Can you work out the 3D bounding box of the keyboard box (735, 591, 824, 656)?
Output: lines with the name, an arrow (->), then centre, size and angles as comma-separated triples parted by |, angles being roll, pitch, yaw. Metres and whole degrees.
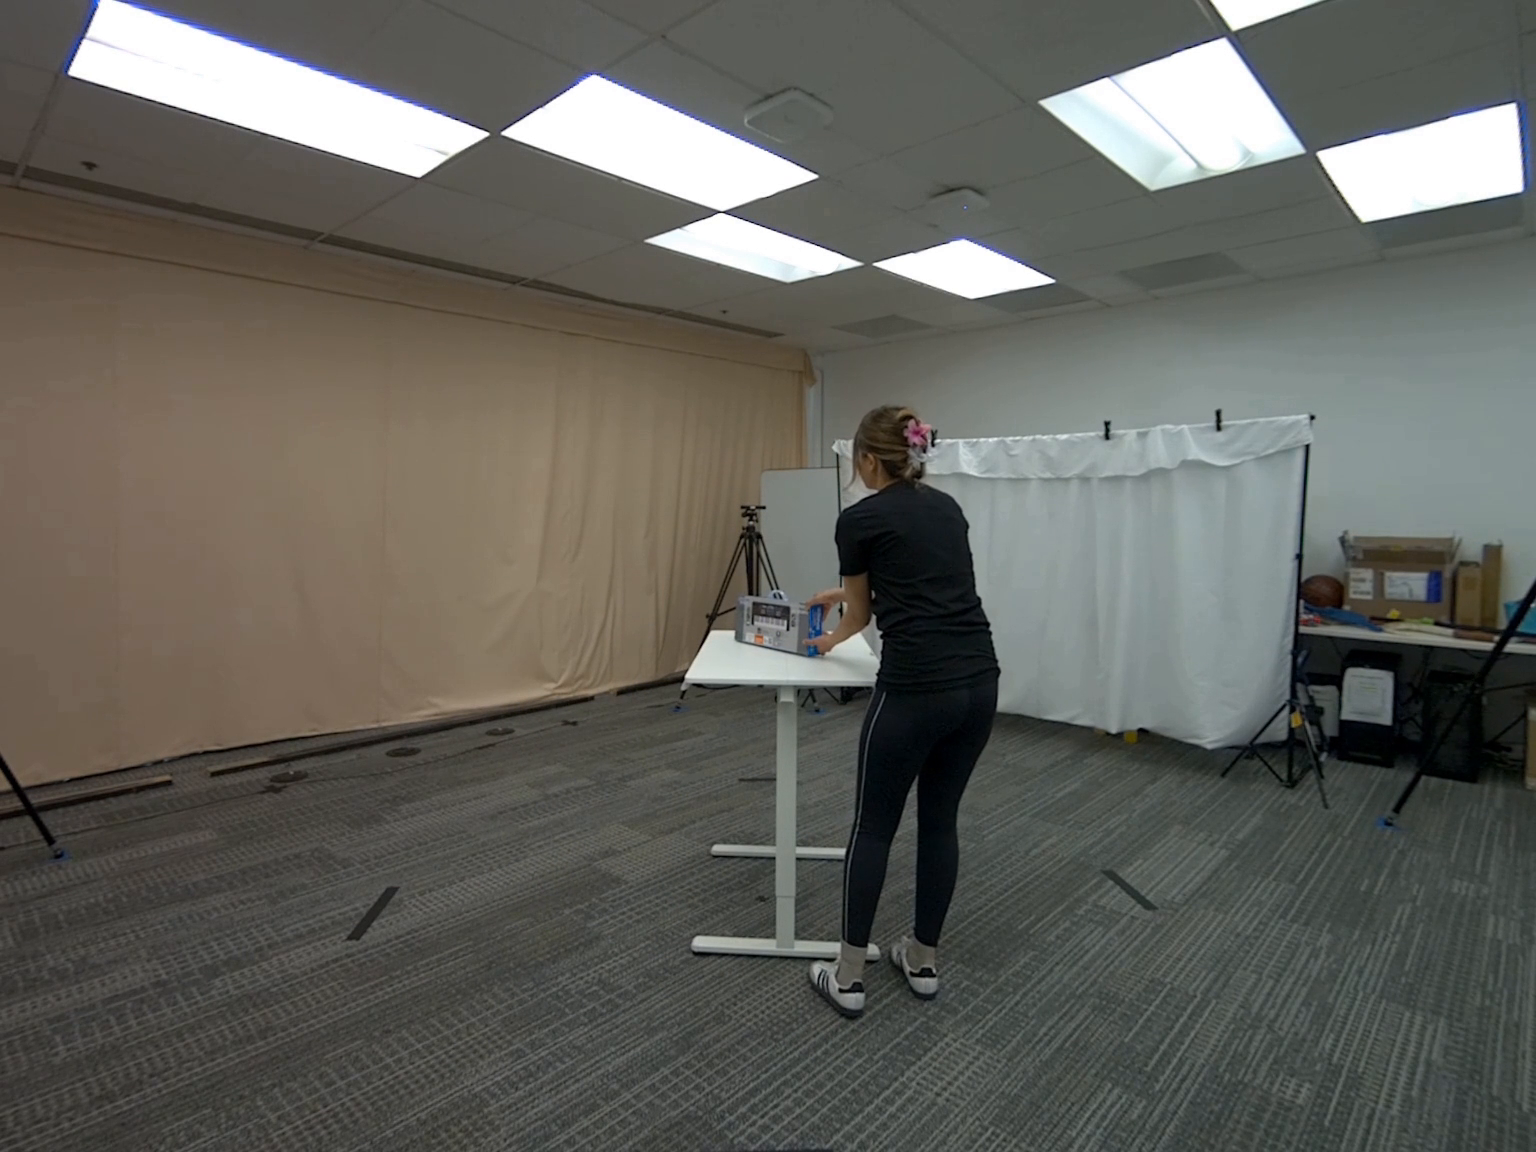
keyboard box -> 0.032, 0.172, 3.000 | 0.057, 0.176, 0.450 | 3, 1, -35
